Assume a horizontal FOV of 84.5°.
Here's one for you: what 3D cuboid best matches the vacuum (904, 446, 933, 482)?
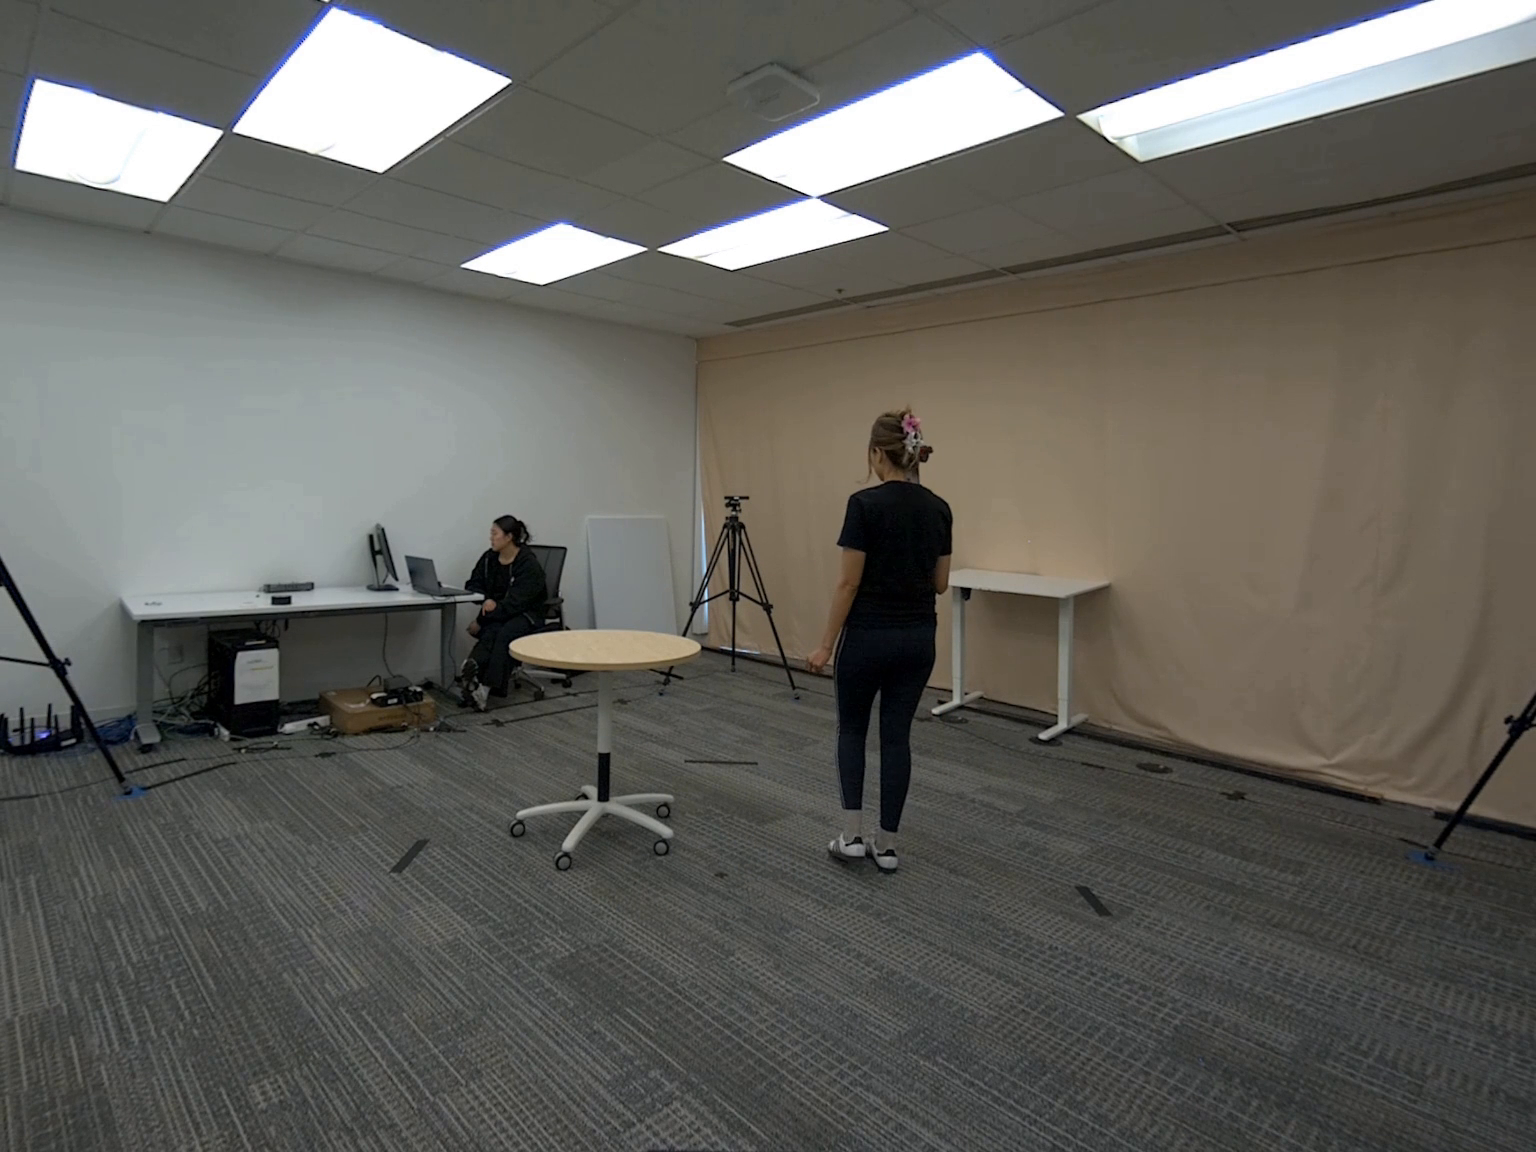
[{"bbox_3d":[0.567,-0.010,3.543,0.259,1.040,0.141,9,15,41],"label":"vacuum"}]
